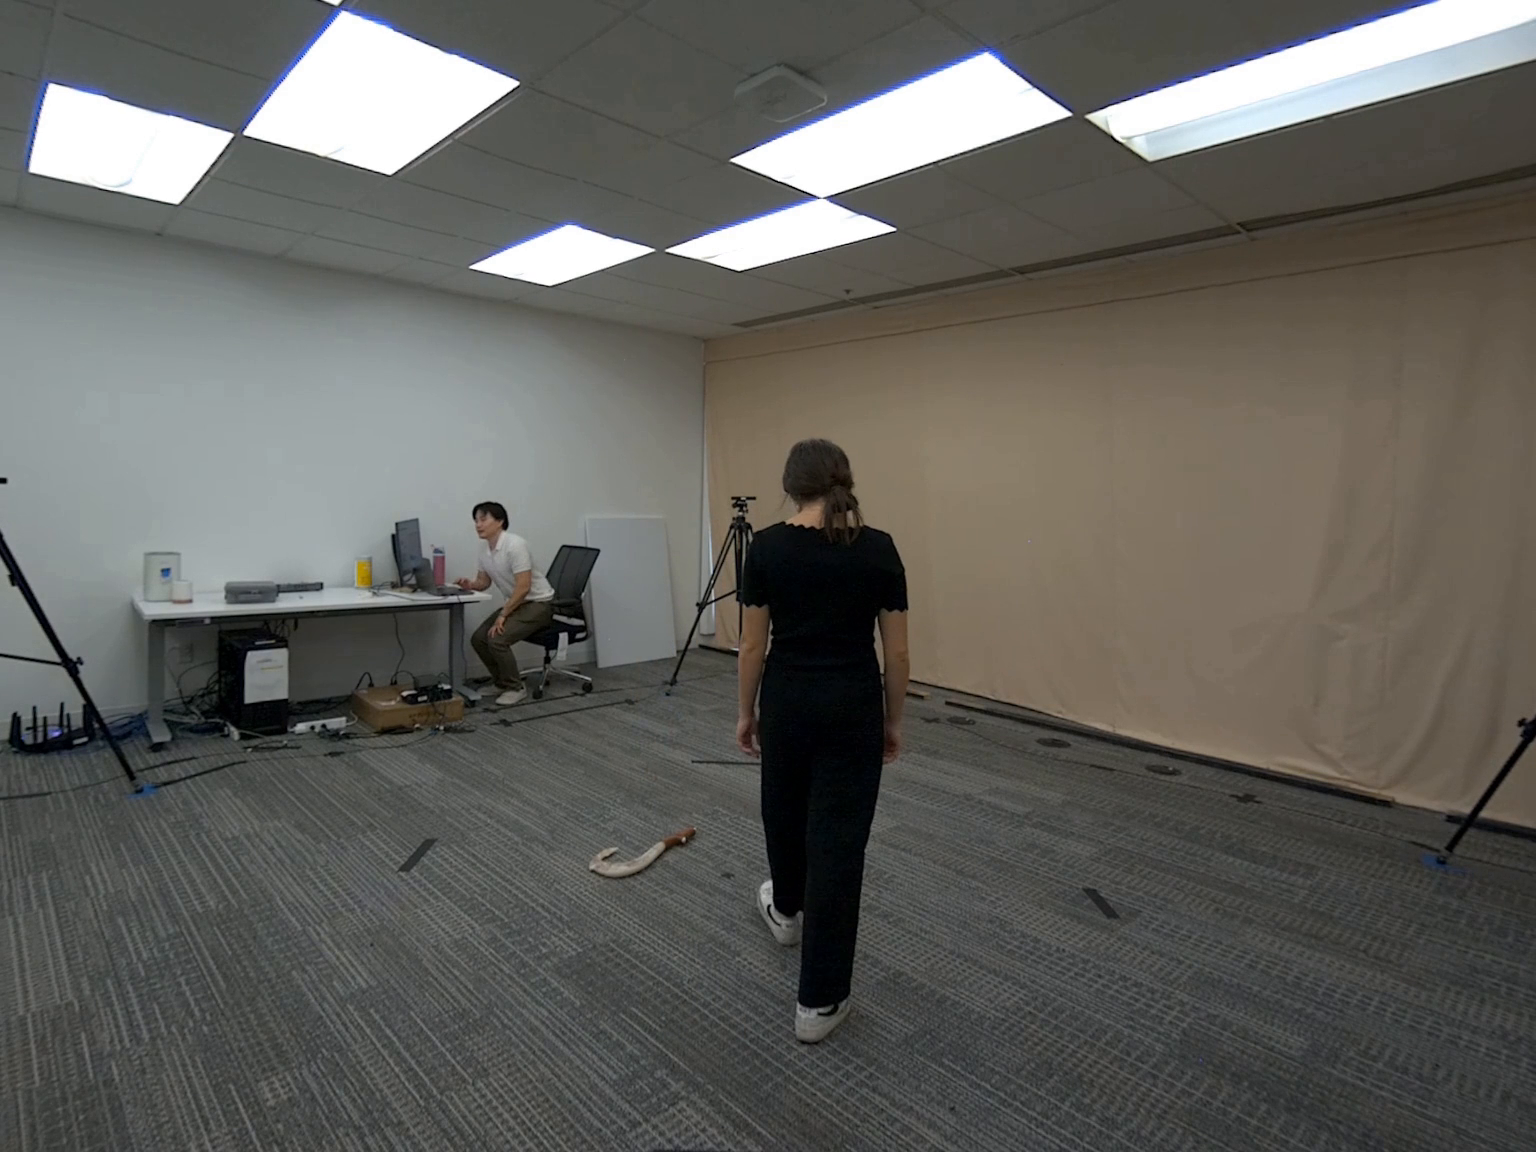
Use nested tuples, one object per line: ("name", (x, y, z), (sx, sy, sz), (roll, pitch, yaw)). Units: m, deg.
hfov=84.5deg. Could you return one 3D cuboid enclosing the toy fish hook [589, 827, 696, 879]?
("toy fish hook", (-0.492, 1.059, 3.282), (0.230, 0.048, 0.496), (6, 6, 33))
